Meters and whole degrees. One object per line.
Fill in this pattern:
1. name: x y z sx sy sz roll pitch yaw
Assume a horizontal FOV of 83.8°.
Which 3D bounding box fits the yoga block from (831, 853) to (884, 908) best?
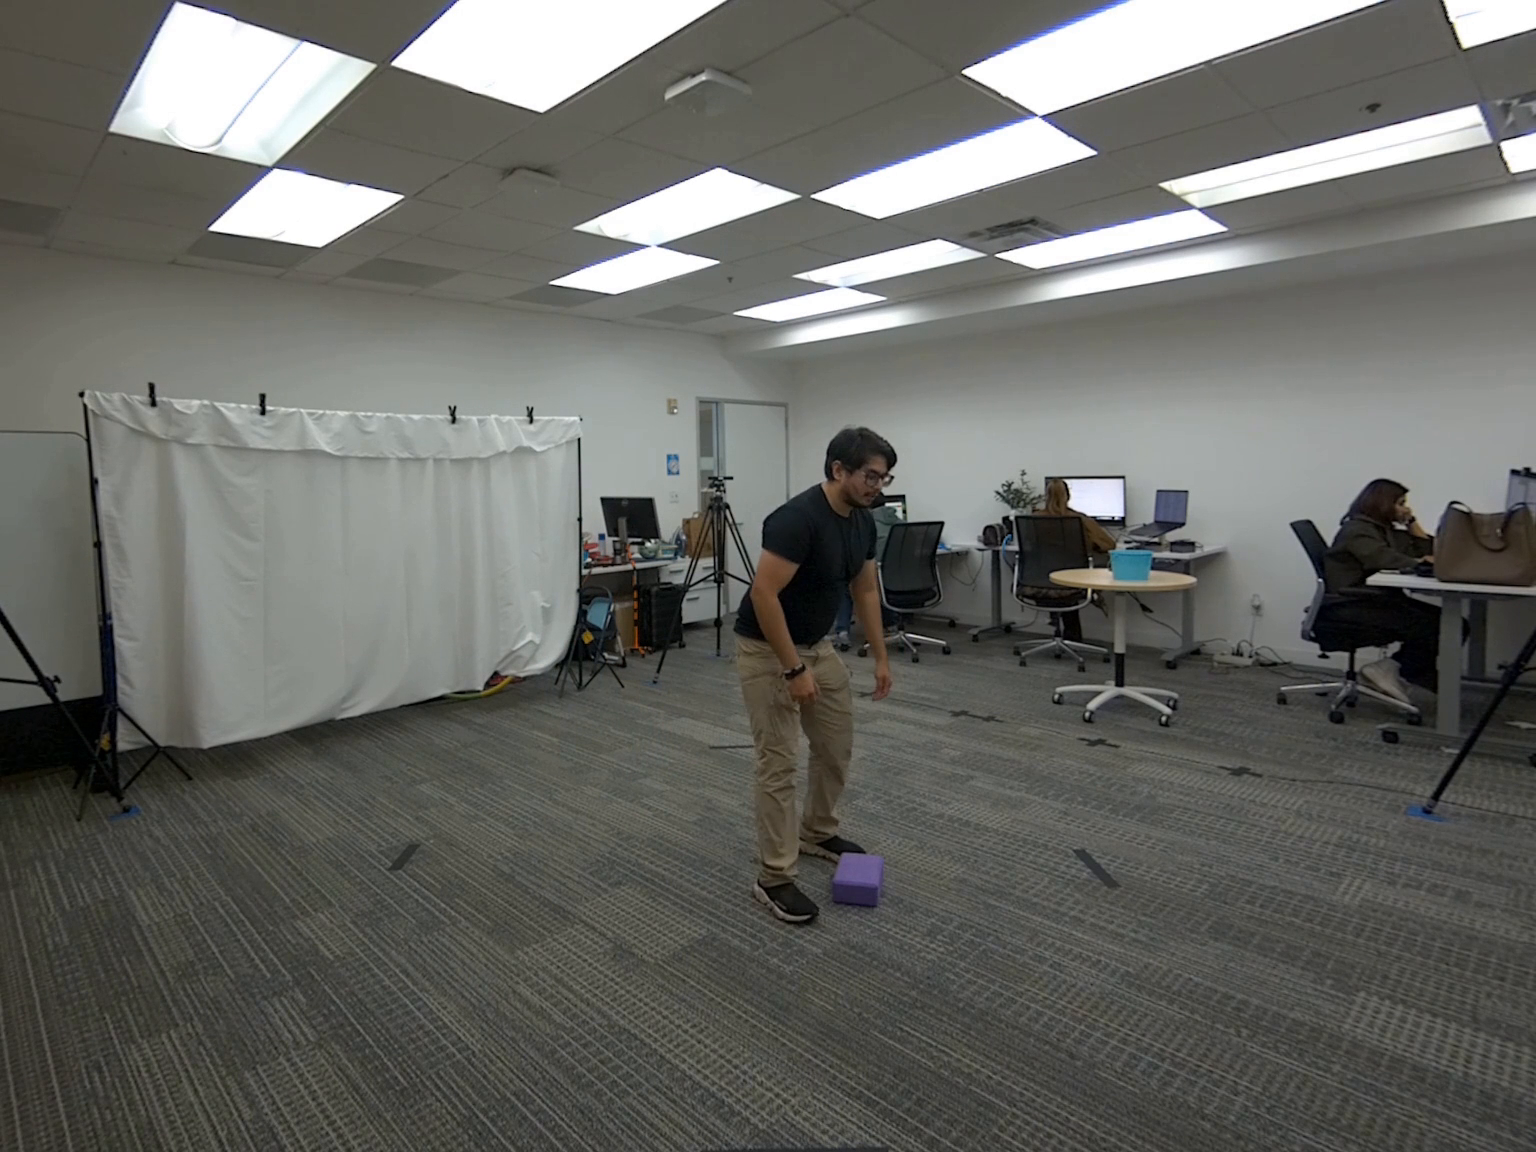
1. yoga block: 0.305 1.017 2.879 0.151 0.076 0.227 0 7 13
